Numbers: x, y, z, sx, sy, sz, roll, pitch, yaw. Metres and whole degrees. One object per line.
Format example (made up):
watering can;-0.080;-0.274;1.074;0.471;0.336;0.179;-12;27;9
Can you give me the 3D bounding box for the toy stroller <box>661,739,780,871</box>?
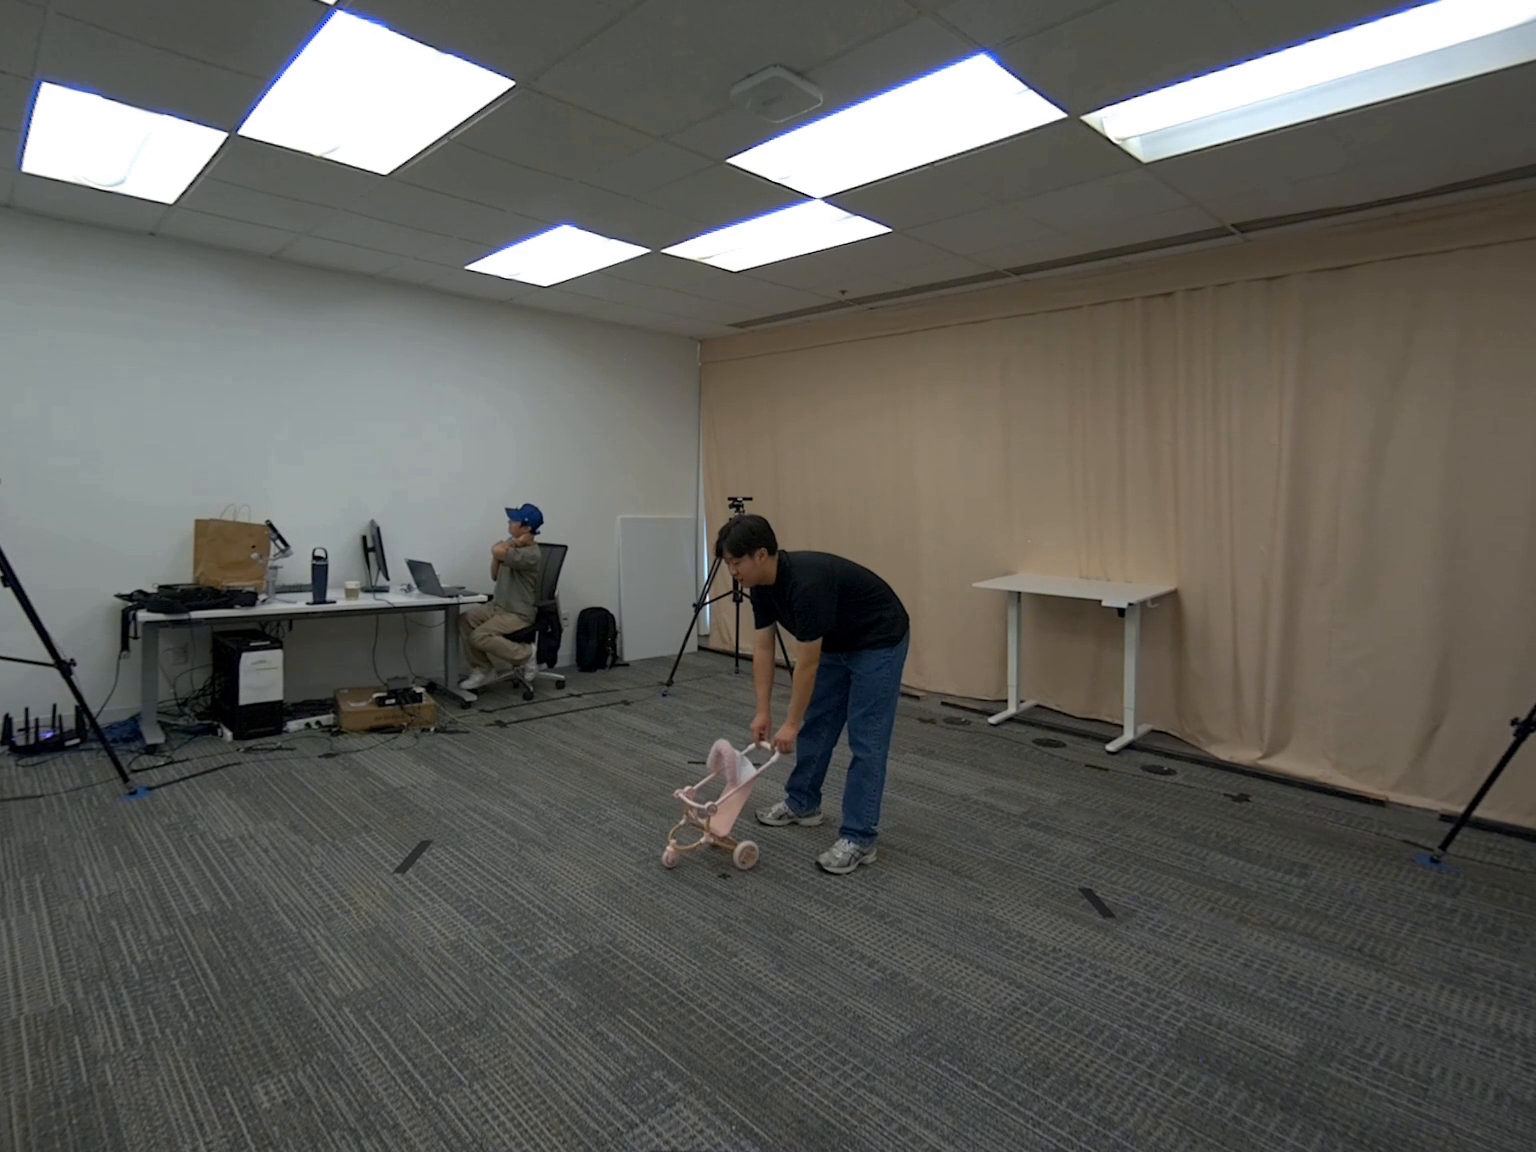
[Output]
toy stroller;-0.199;0.869;3.234;0.334;0.536;0.287;19;-4;-23
